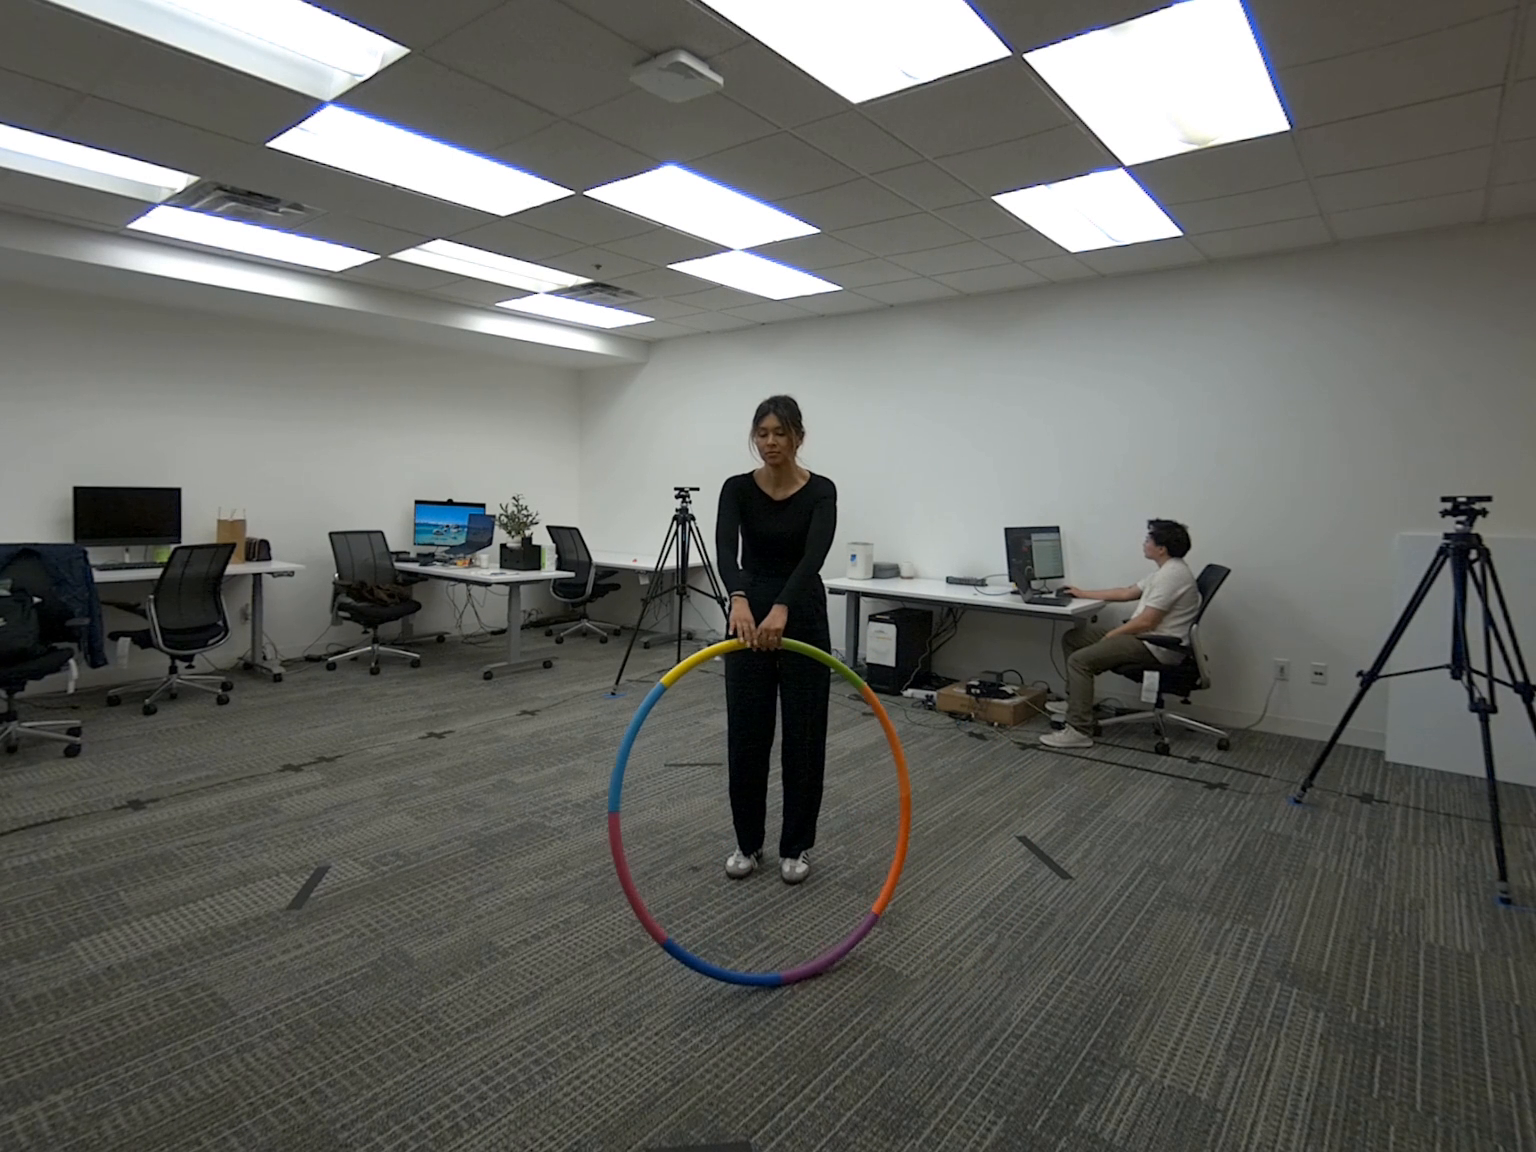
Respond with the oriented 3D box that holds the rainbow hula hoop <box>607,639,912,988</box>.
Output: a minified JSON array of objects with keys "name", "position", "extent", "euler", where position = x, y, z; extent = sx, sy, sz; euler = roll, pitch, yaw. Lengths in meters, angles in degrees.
[{"name":"rainbow hula hoop","position":[0.008,0.661,2.495],"extent":[0.955,0.991,0.036],"euler":[-2,-13,-25]}]
